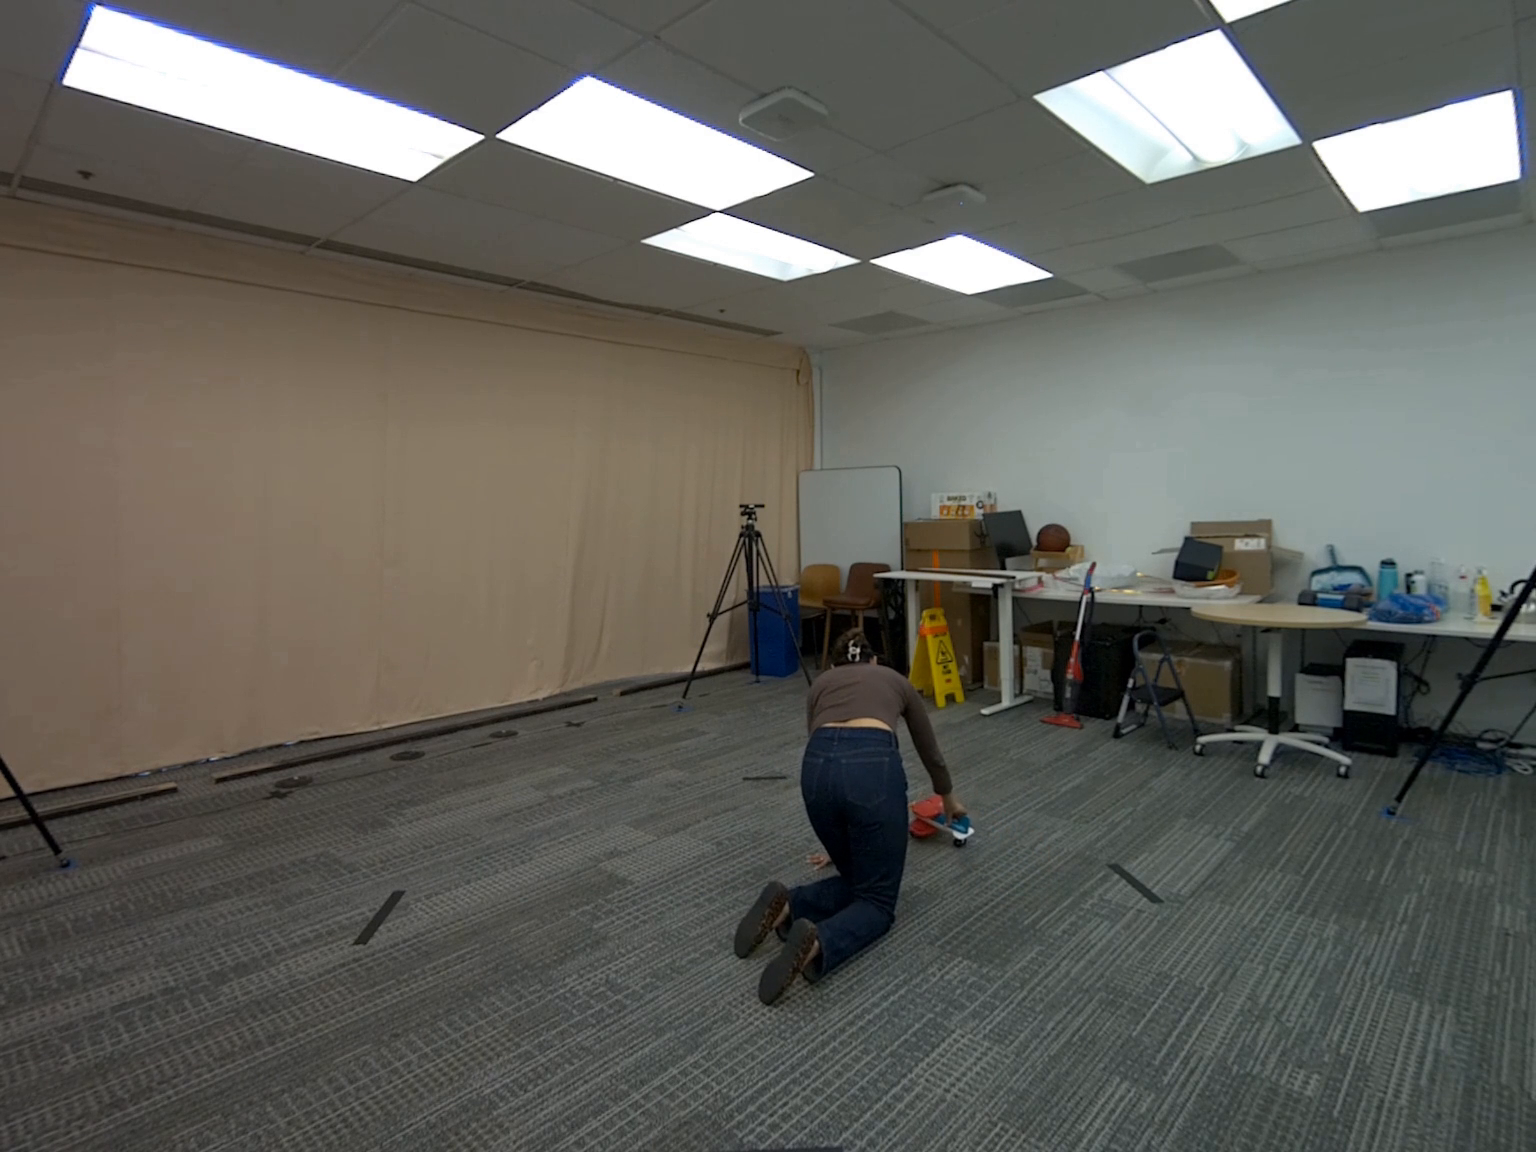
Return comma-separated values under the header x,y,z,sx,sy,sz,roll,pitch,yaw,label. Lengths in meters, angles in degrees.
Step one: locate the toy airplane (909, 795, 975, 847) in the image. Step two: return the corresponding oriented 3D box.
x,y,z,sx,sy,sz,roll,pitch,yaw,label
0.720,1.014,3.478,0.264,0.156,0.247,-1,3,16,toy airplane
